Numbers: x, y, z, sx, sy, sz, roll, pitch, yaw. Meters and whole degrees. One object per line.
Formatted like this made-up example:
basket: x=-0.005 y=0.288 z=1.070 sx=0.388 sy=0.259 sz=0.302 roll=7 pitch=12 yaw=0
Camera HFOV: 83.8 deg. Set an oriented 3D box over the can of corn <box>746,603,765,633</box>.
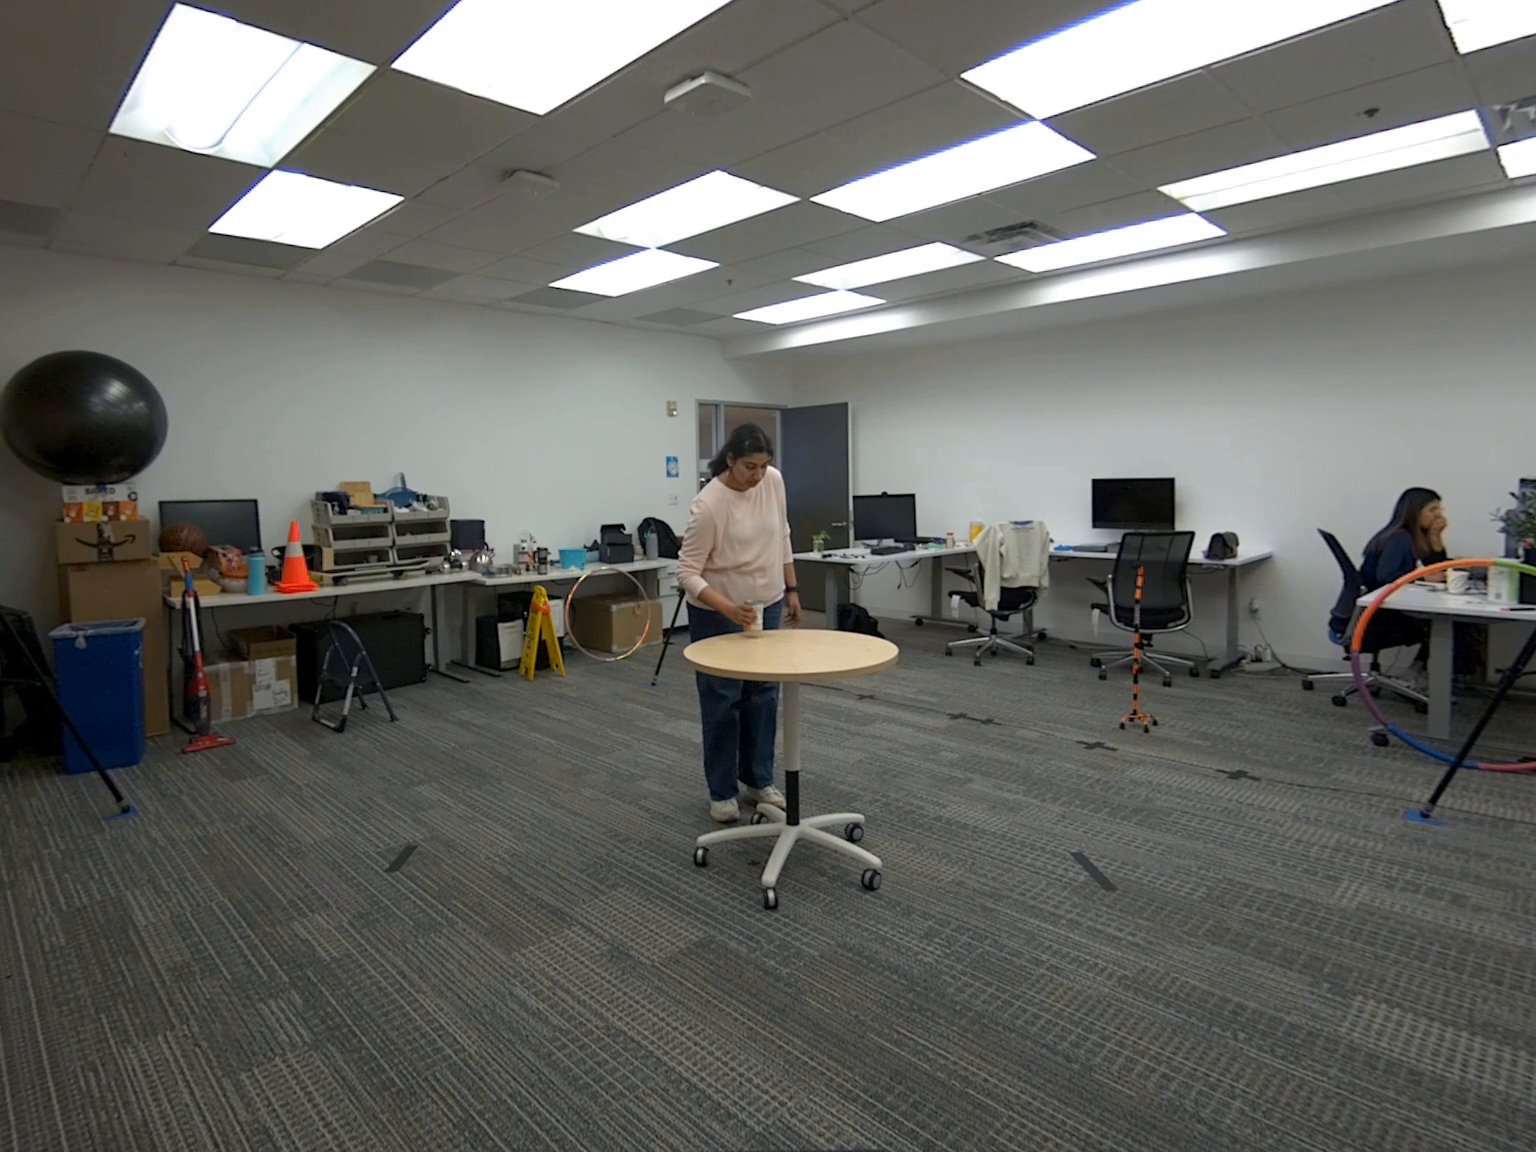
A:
can of corn: x=-0.069 y=0.159 z=3.293 sx=0.074 sy=0.110 sz=0.075 roll=3 pitch=6 yaw=-2
